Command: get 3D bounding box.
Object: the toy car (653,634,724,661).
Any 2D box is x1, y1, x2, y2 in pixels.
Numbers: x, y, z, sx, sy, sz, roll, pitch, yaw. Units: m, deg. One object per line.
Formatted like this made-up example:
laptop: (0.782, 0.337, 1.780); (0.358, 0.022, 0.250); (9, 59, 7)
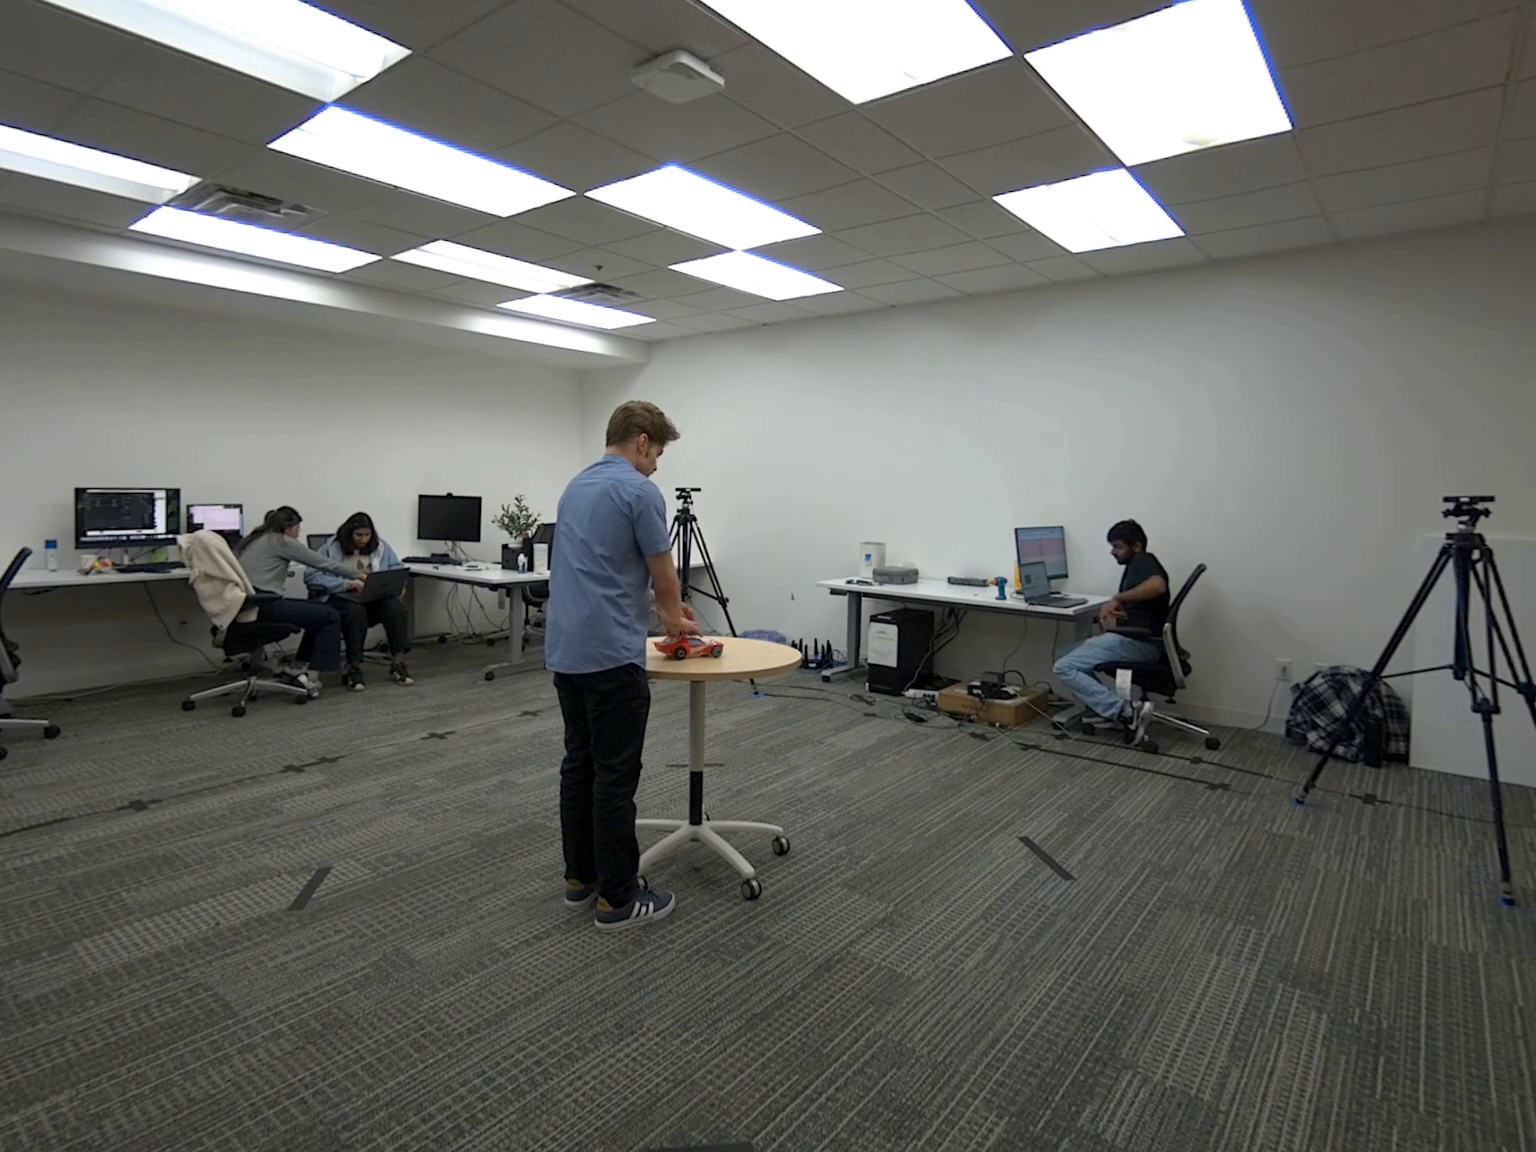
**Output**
toy car: (-0.295, 0.256, 3.054); (0.247, 0.083, 0.134); (11, -1, -27)
